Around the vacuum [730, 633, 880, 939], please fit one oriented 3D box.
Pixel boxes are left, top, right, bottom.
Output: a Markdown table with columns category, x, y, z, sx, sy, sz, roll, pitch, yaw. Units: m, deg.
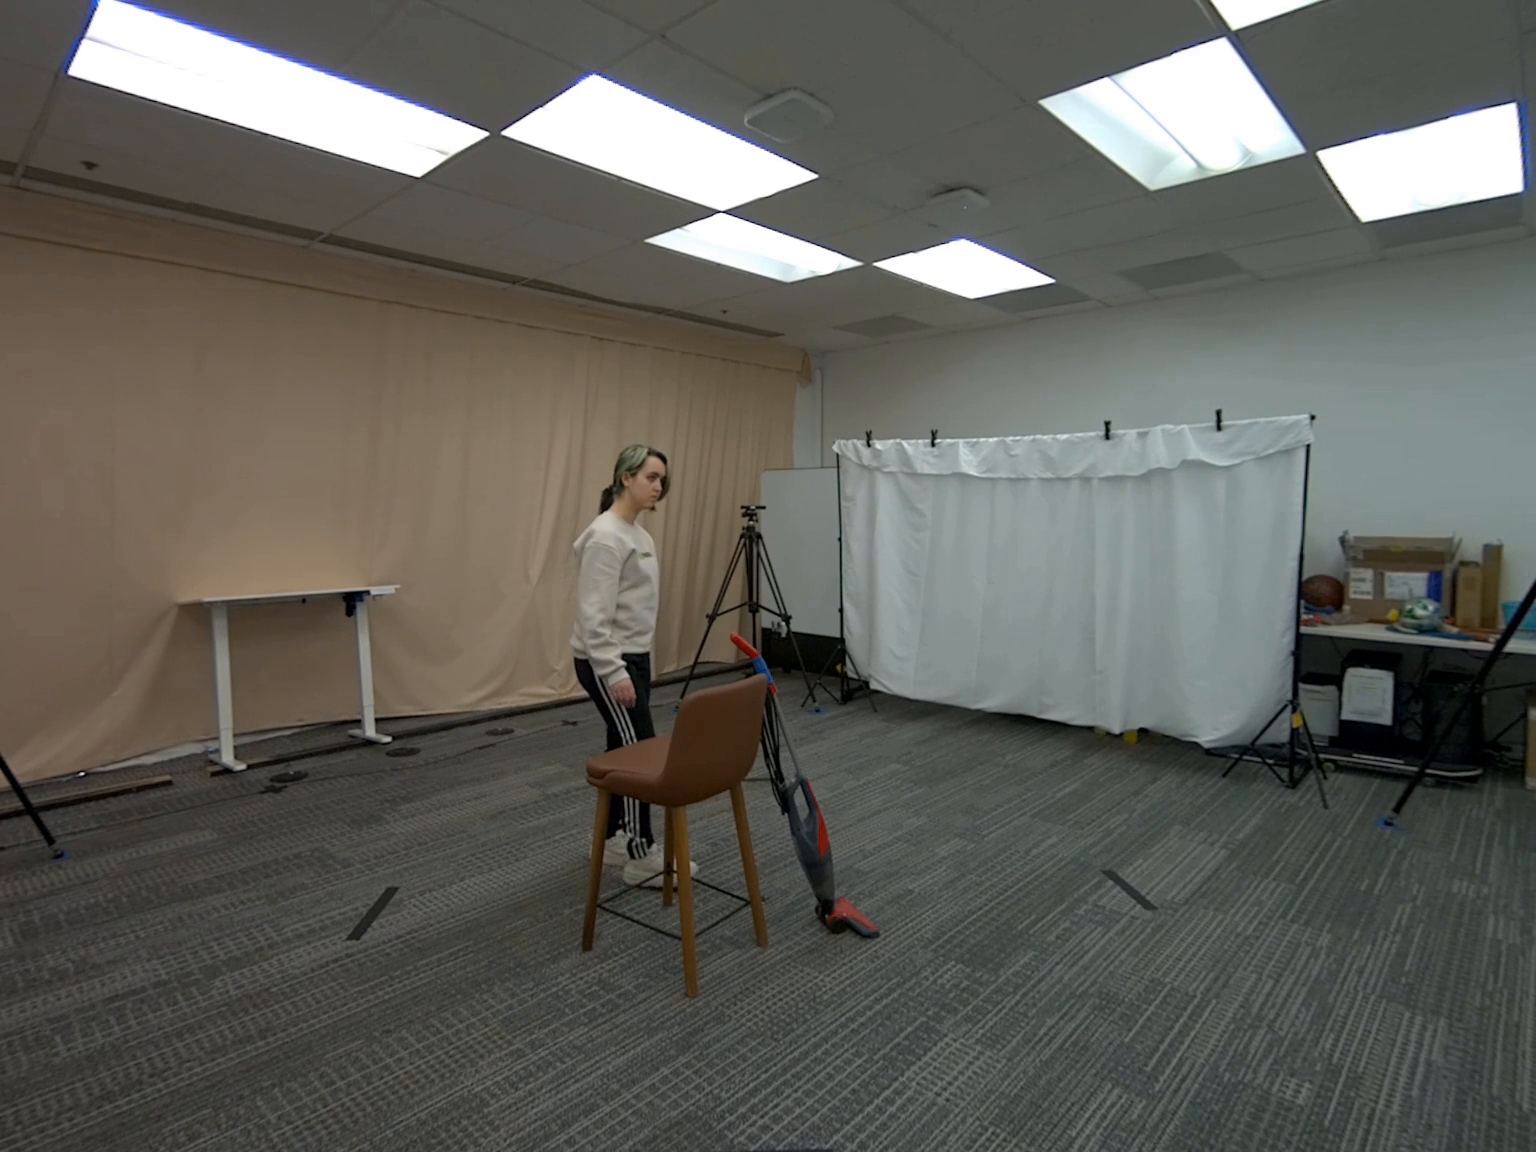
| category | x | y | z | sx | sy | sz | roll | pitch | yaw |
| --- | --- | --- | --- | --- | --- | --- | --- | --- | --- |
| vacuum | 0.087 | 0.672 | 2.735 | 0.142 | 1.040 | 0.258 | -22 | 9 | -18 |
